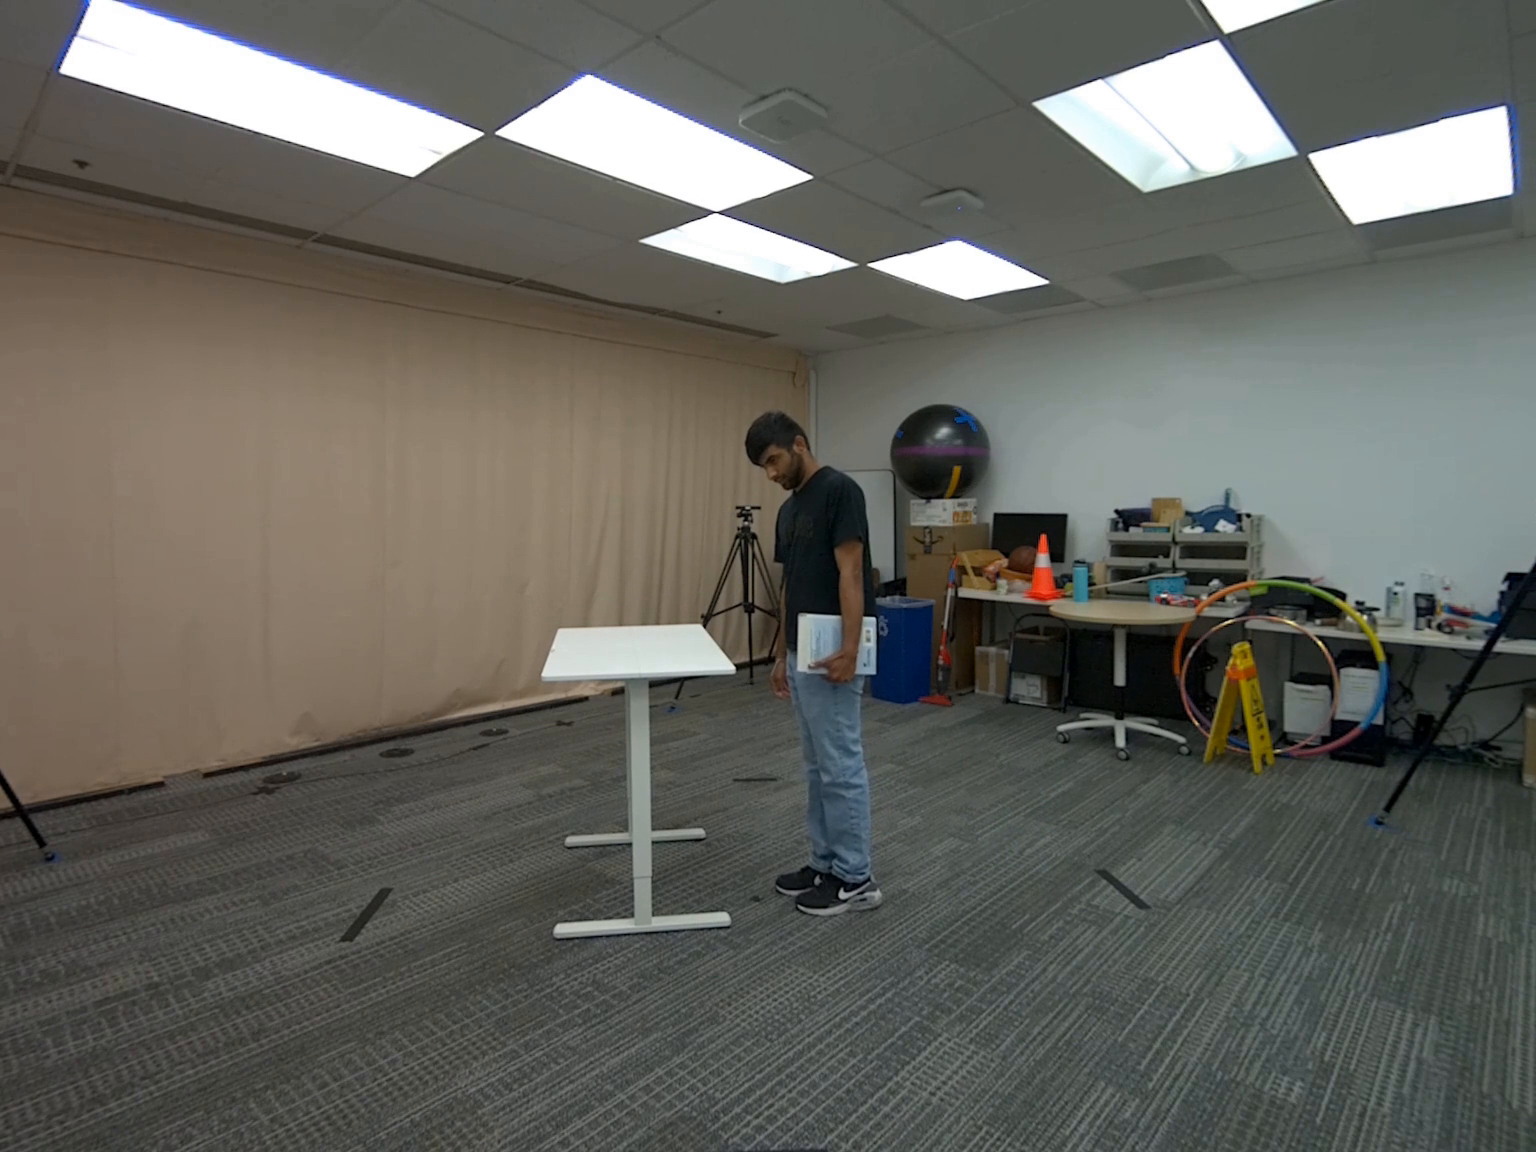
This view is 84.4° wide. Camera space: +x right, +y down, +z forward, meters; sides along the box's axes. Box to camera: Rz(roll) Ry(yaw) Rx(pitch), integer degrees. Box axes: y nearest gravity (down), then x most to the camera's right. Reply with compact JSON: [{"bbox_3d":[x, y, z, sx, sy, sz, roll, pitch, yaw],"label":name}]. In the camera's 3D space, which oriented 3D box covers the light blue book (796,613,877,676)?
[{"bbox_3d":[0.227,0.221,2.736,0.255,0.192,0.060,3,-8,-21],"label":"light blue book"}]
